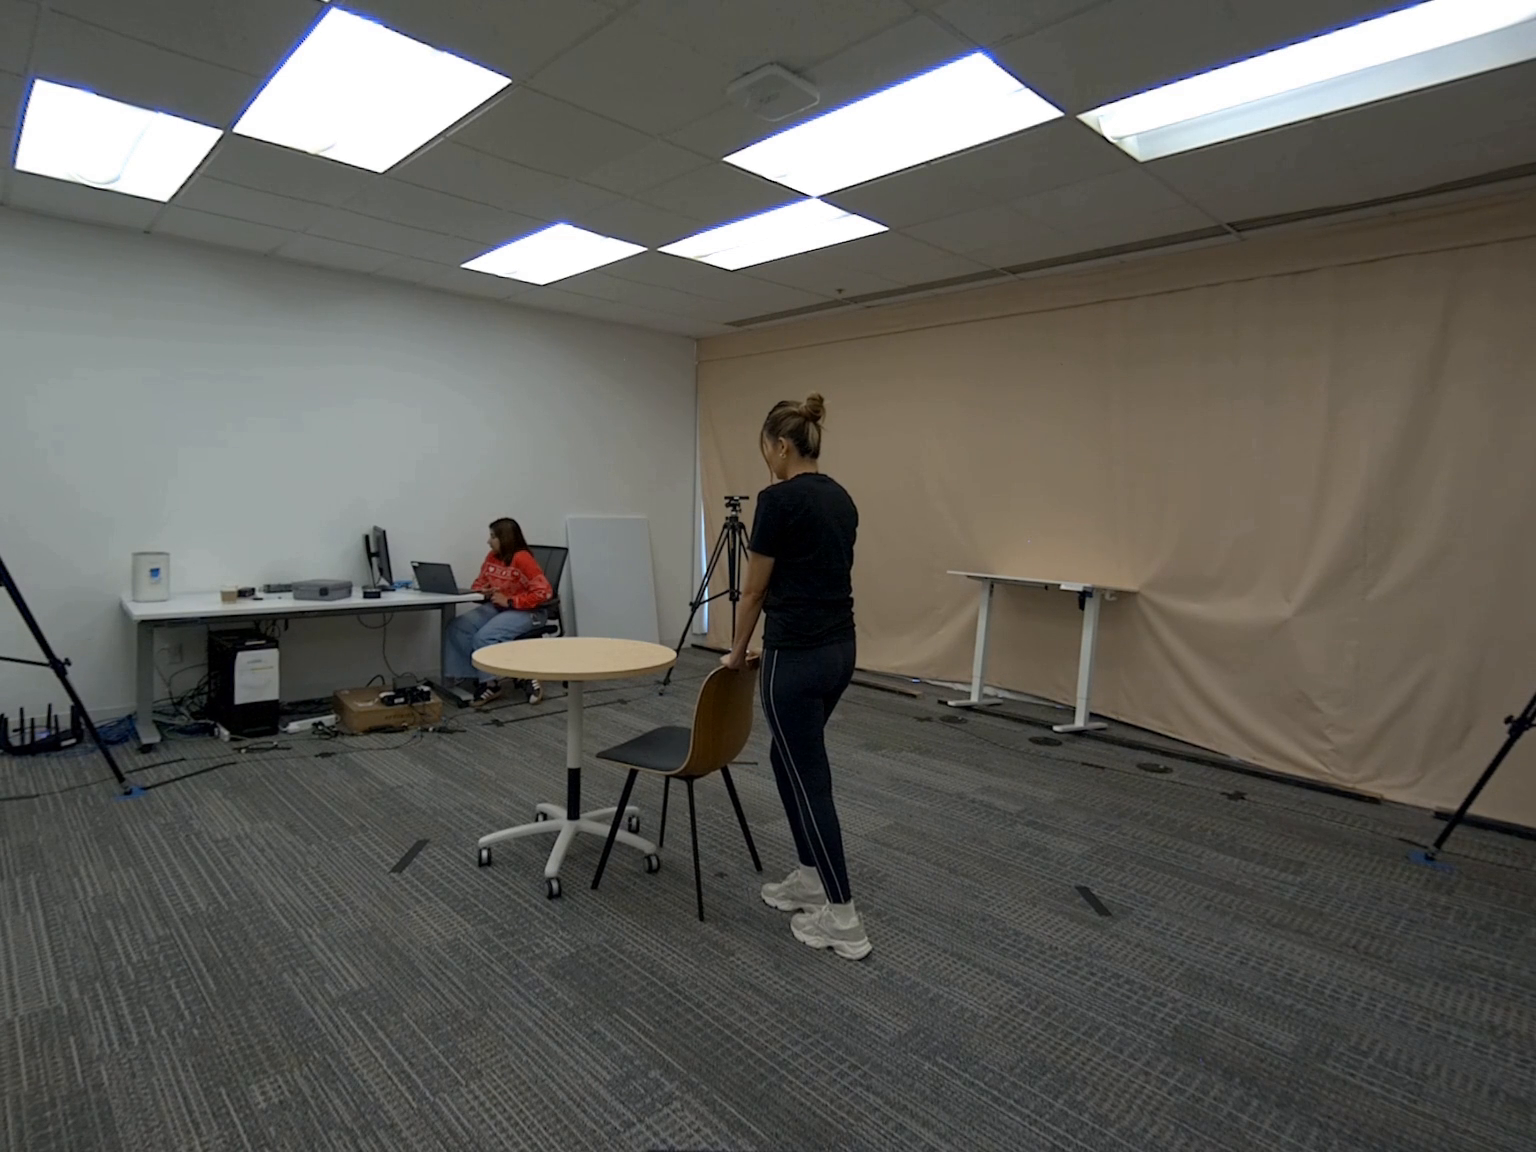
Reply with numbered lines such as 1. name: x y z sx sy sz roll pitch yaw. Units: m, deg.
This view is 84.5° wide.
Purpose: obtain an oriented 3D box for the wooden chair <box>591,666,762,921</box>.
1. wooden chair: -0.320 0.677 3.028 0.534 0.874 0.469 7 6 27
